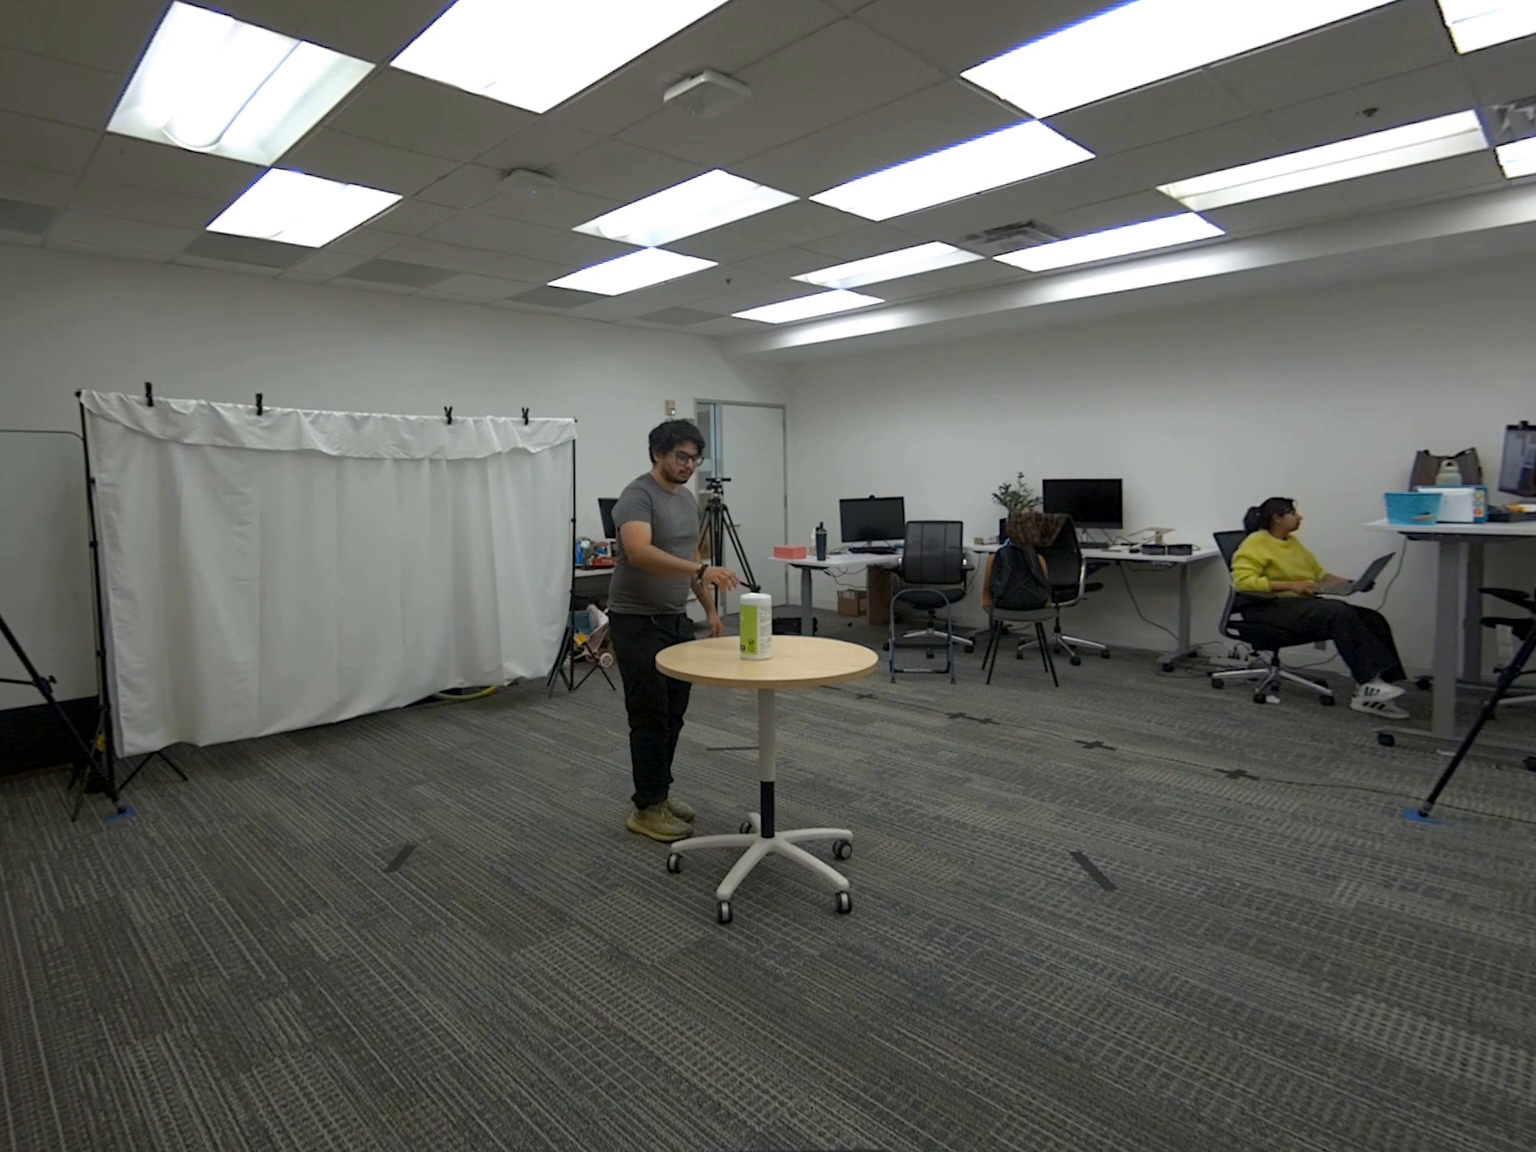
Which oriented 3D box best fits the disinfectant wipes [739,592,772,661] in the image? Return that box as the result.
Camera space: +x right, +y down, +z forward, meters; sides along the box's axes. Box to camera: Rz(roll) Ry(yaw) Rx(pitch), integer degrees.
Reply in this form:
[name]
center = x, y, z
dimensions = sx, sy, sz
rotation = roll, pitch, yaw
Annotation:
[disinfectant wipes]
center = -0.035, 0.173, 2.916
dimensions = 0.118, 0.217, 0.118
rotation = -1, 4, -2
